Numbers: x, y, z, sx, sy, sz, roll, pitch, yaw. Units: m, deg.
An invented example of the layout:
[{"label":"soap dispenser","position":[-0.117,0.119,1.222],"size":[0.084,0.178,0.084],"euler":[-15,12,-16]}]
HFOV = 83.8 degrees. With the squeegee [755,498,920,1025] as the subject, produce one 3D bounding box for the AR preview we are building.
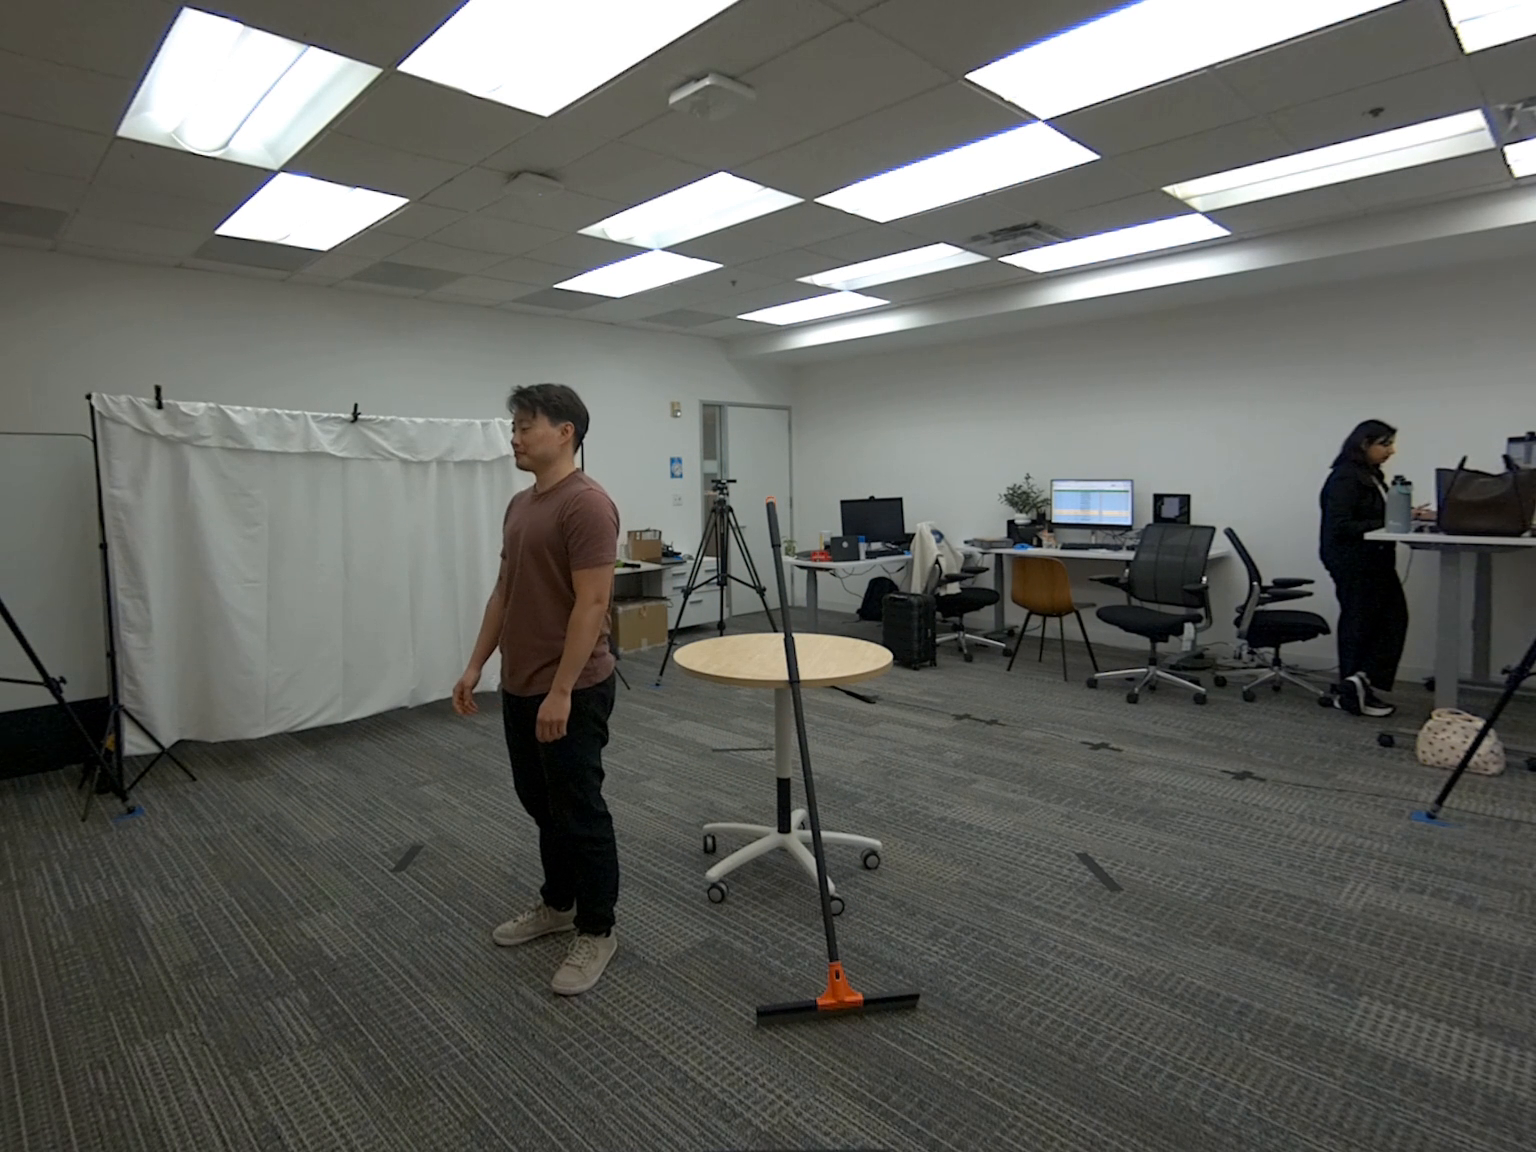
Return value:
[{"label":"squeegee","position":[0.105,0.420,2.541],"size":[0.435,1.574,0.052],"euler":[-3,-26,-6]}]
